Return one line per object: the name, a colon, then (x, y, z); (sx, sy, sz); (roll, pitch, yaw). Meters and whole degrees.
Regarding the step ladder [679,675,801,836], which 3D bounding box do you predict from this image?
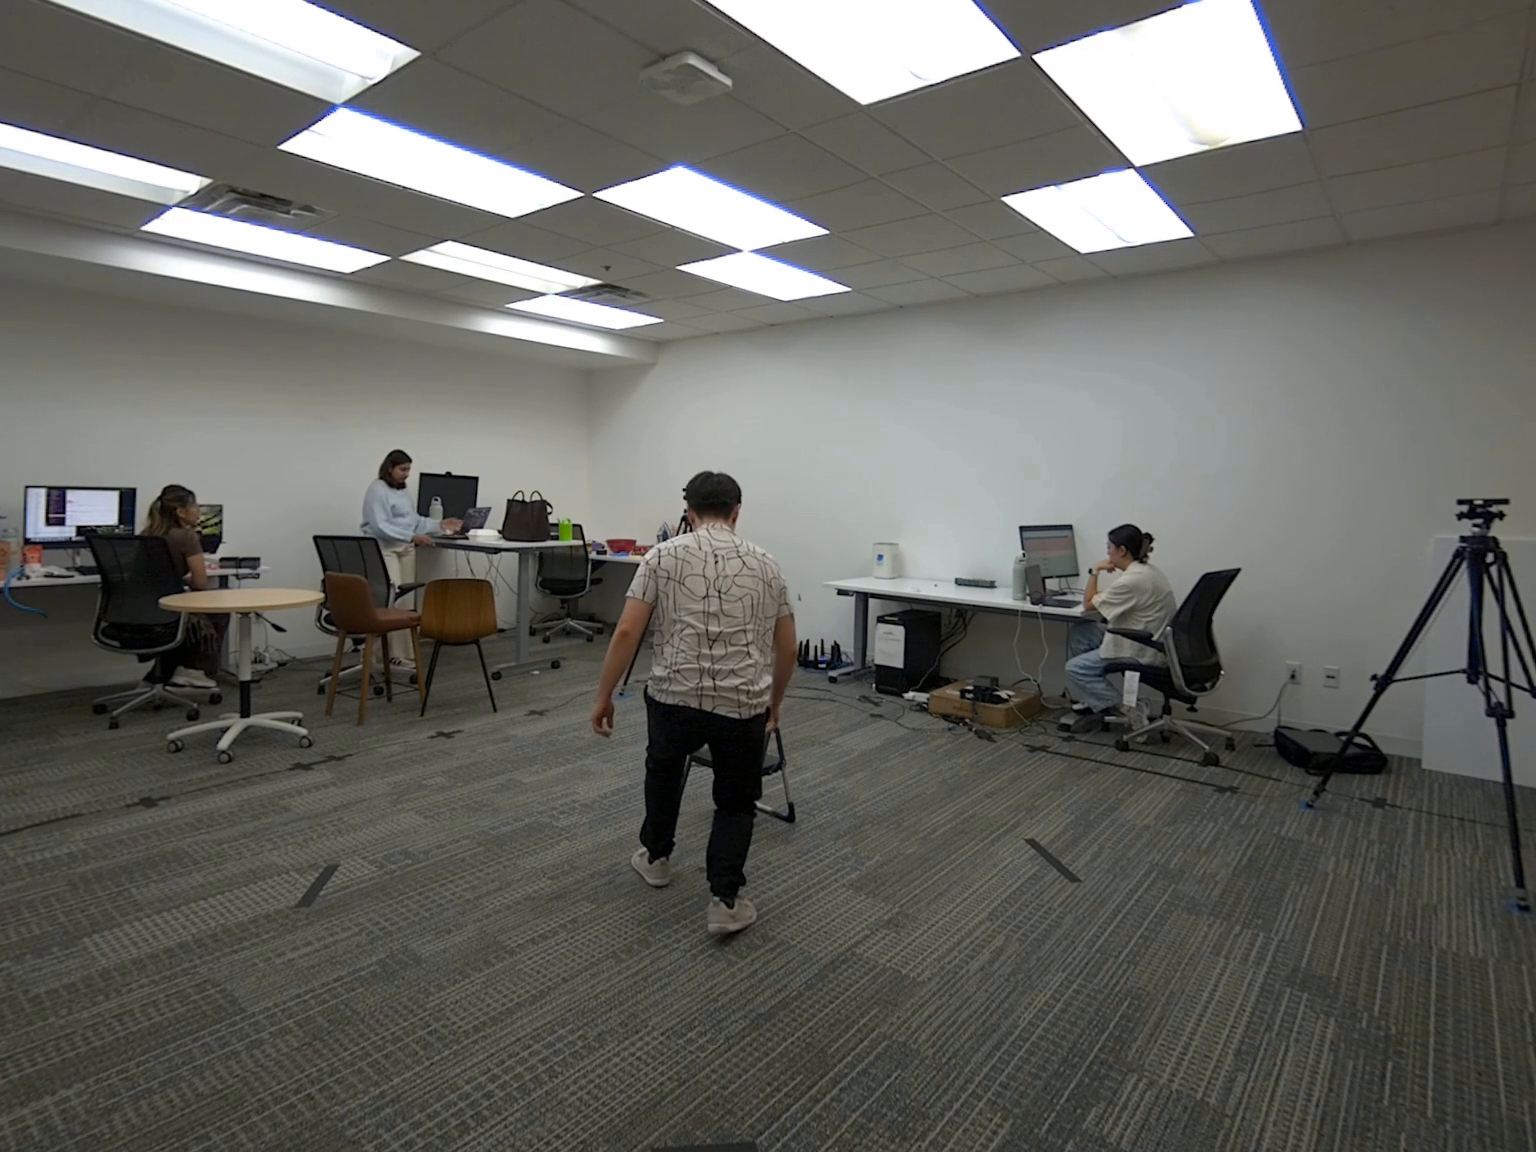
step ladder: (-0.148, 0.716, 3.585); (0.445, 0.605, 0.338); (4, 4, 44)
